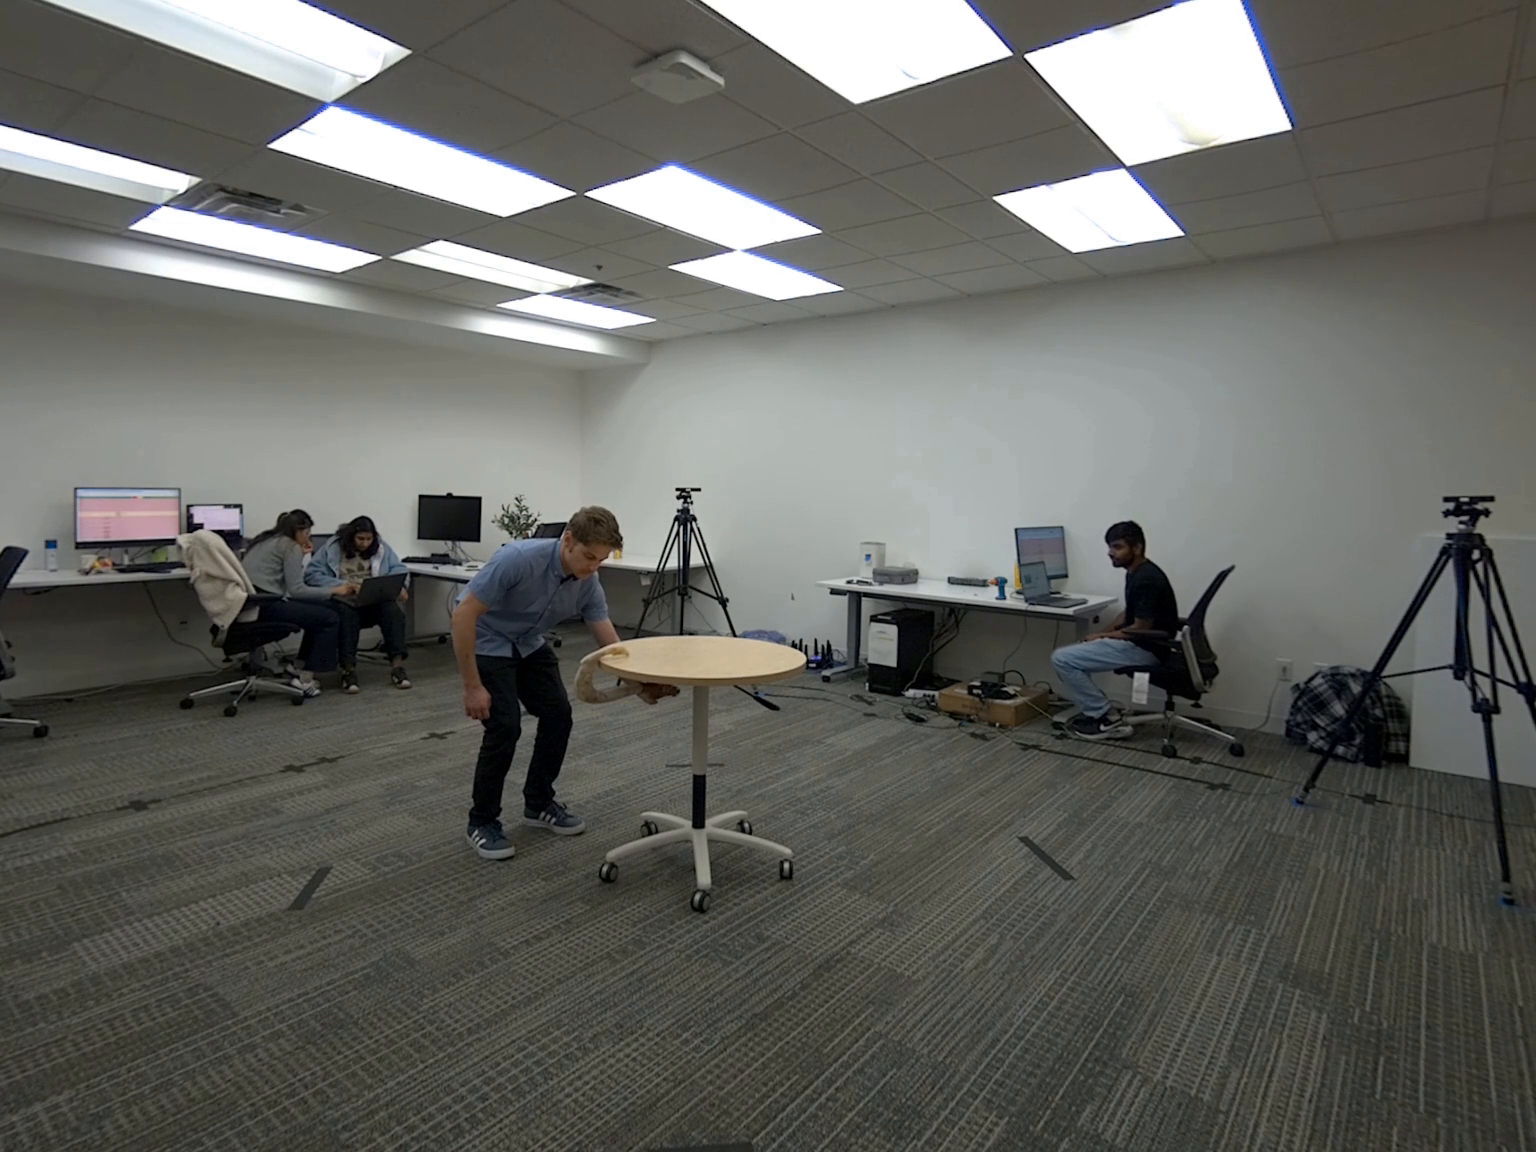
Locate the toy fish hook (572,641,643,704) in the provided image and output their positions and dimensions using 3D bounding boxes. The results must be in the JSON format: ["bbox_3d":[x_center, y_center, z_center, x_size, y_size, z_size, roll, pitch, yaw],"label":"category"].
[{"bbox_3d":[-0.509,0.368,3.114,0.488,0.223,0.050,10,17,-45],"label":"toy fish hook"}]
